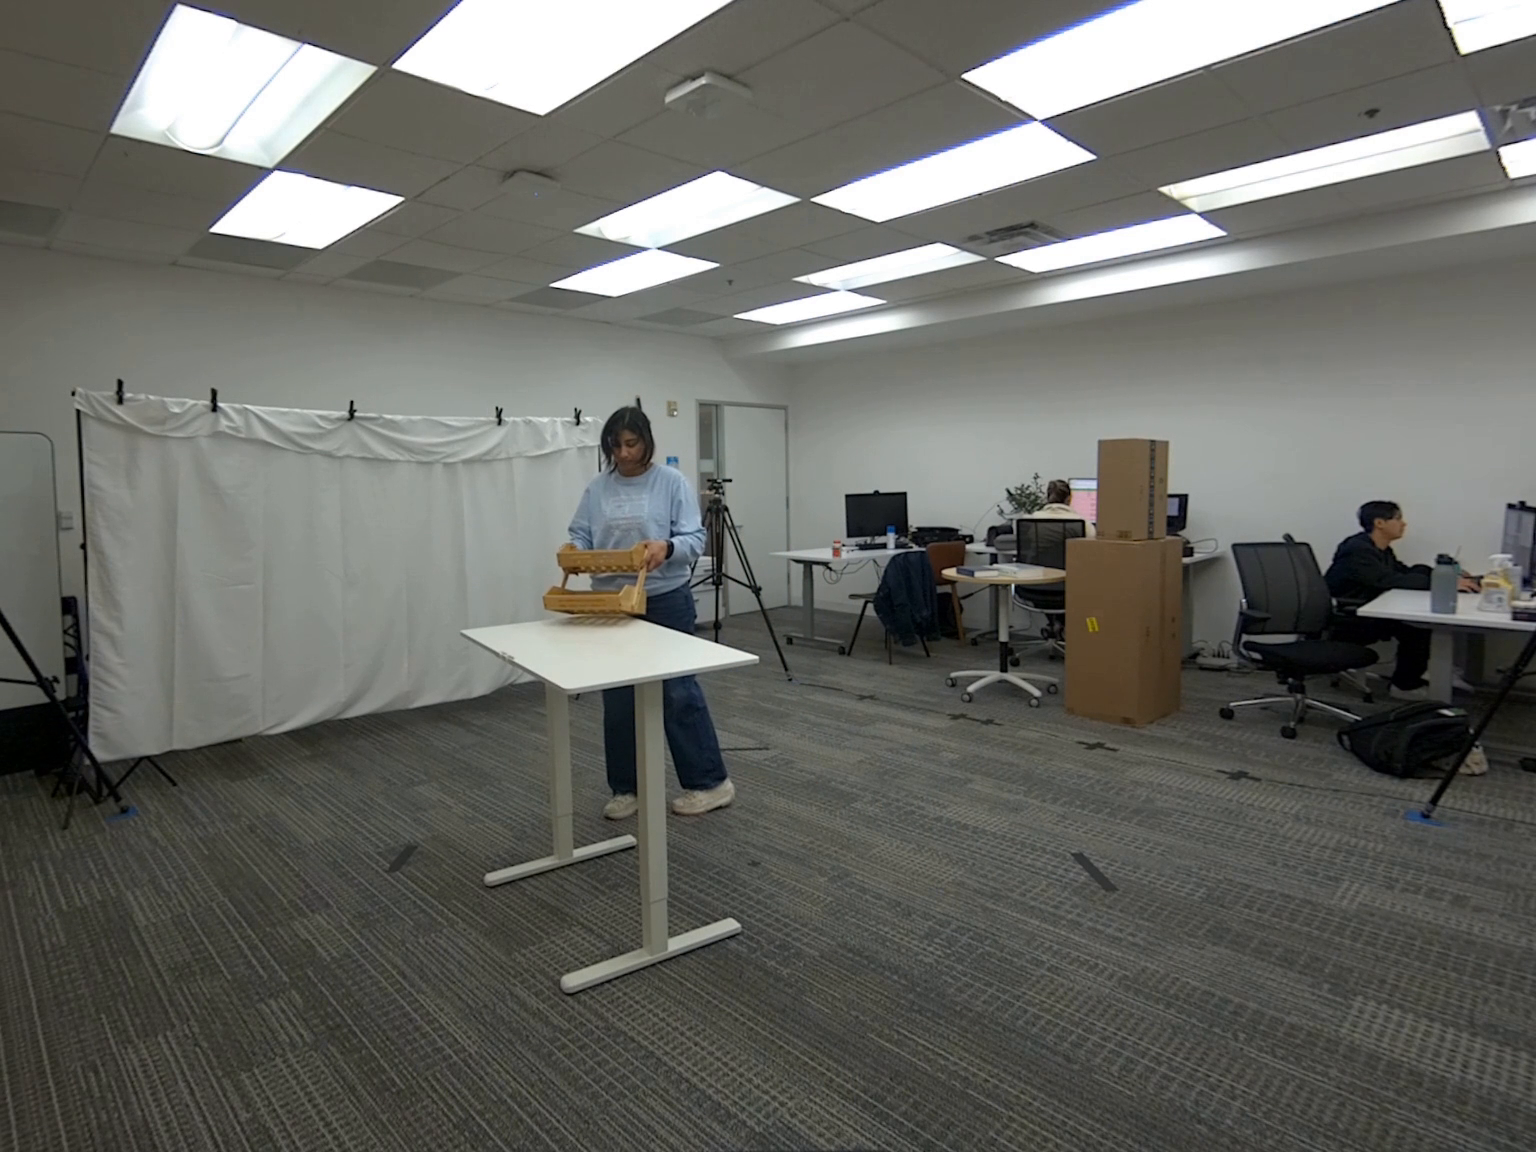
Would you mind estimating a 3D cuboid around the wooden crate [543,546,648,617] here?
[{"bbox_3d":[-0.630,0.002,3.180,0.329,0.276,0.295,-1,-10,13],"label":"wooden crate"}]
